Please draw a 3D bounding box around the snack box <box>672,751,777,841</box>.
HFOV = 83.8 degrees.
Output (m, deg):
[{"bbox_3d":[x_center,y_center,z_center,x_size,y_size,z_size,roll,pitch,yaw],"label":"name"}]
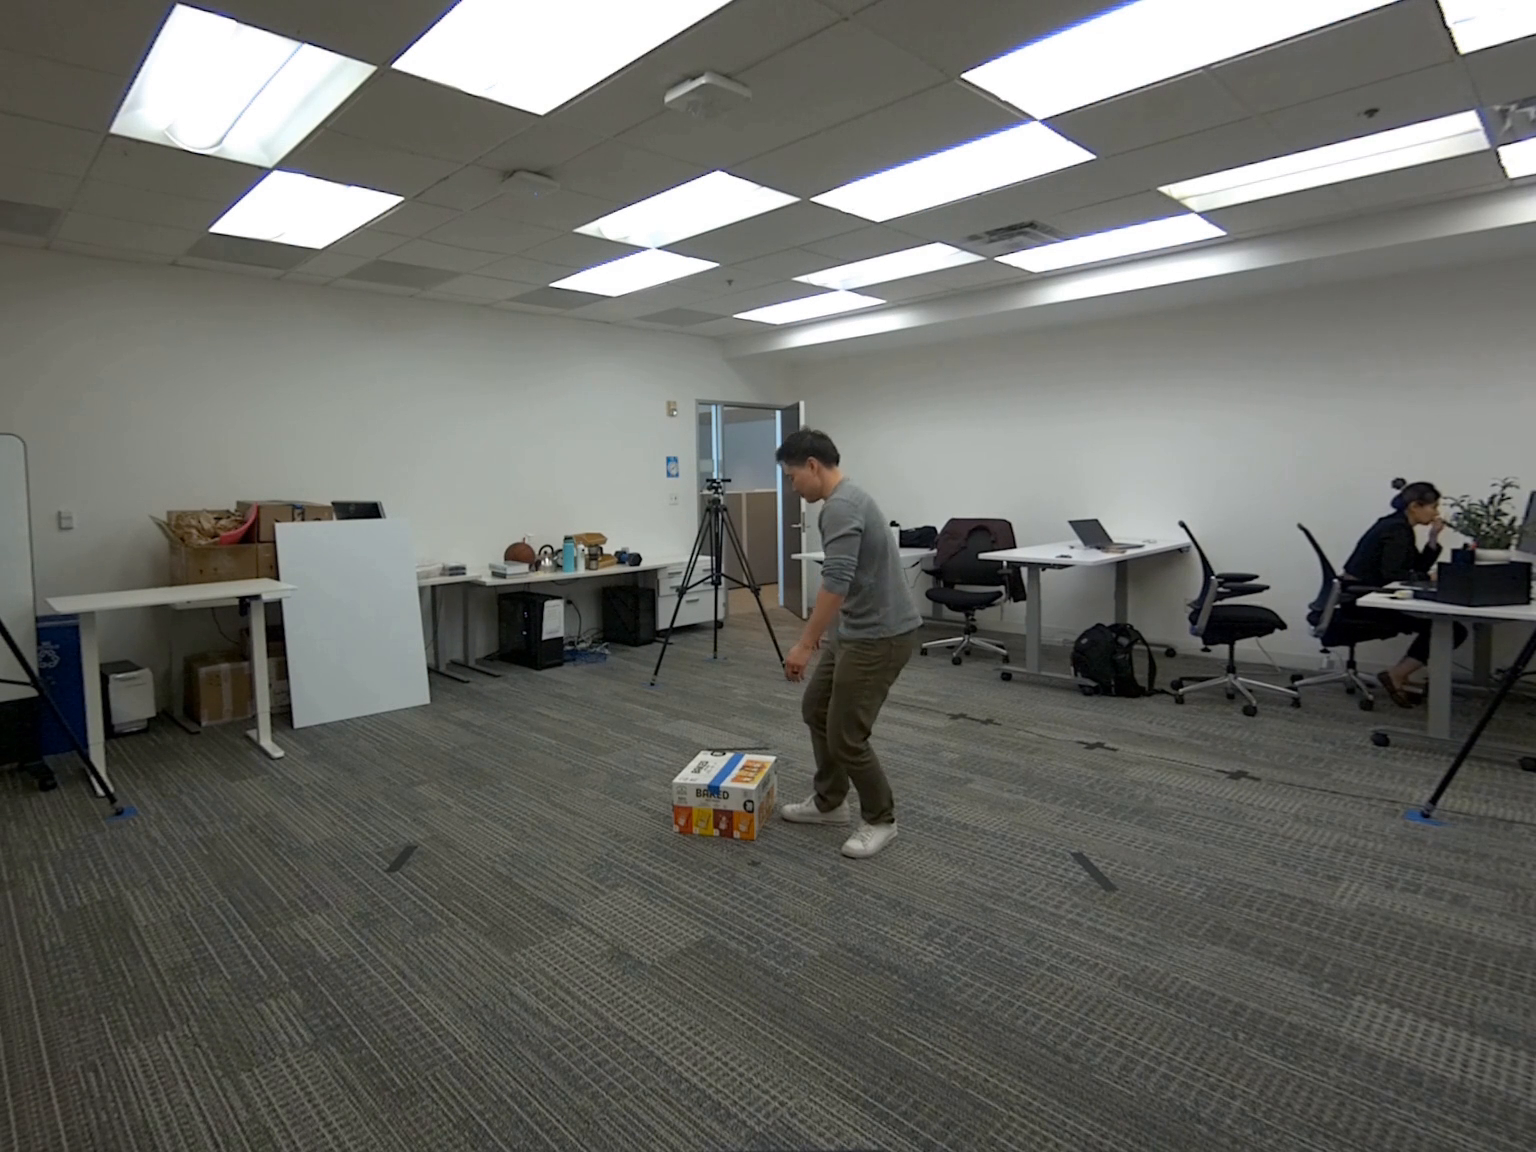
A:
[{"bbox_3d":[-0.175,0.902,3.539,0.345,0.205,0.401,1,6,14],"label":"snack box"}]
